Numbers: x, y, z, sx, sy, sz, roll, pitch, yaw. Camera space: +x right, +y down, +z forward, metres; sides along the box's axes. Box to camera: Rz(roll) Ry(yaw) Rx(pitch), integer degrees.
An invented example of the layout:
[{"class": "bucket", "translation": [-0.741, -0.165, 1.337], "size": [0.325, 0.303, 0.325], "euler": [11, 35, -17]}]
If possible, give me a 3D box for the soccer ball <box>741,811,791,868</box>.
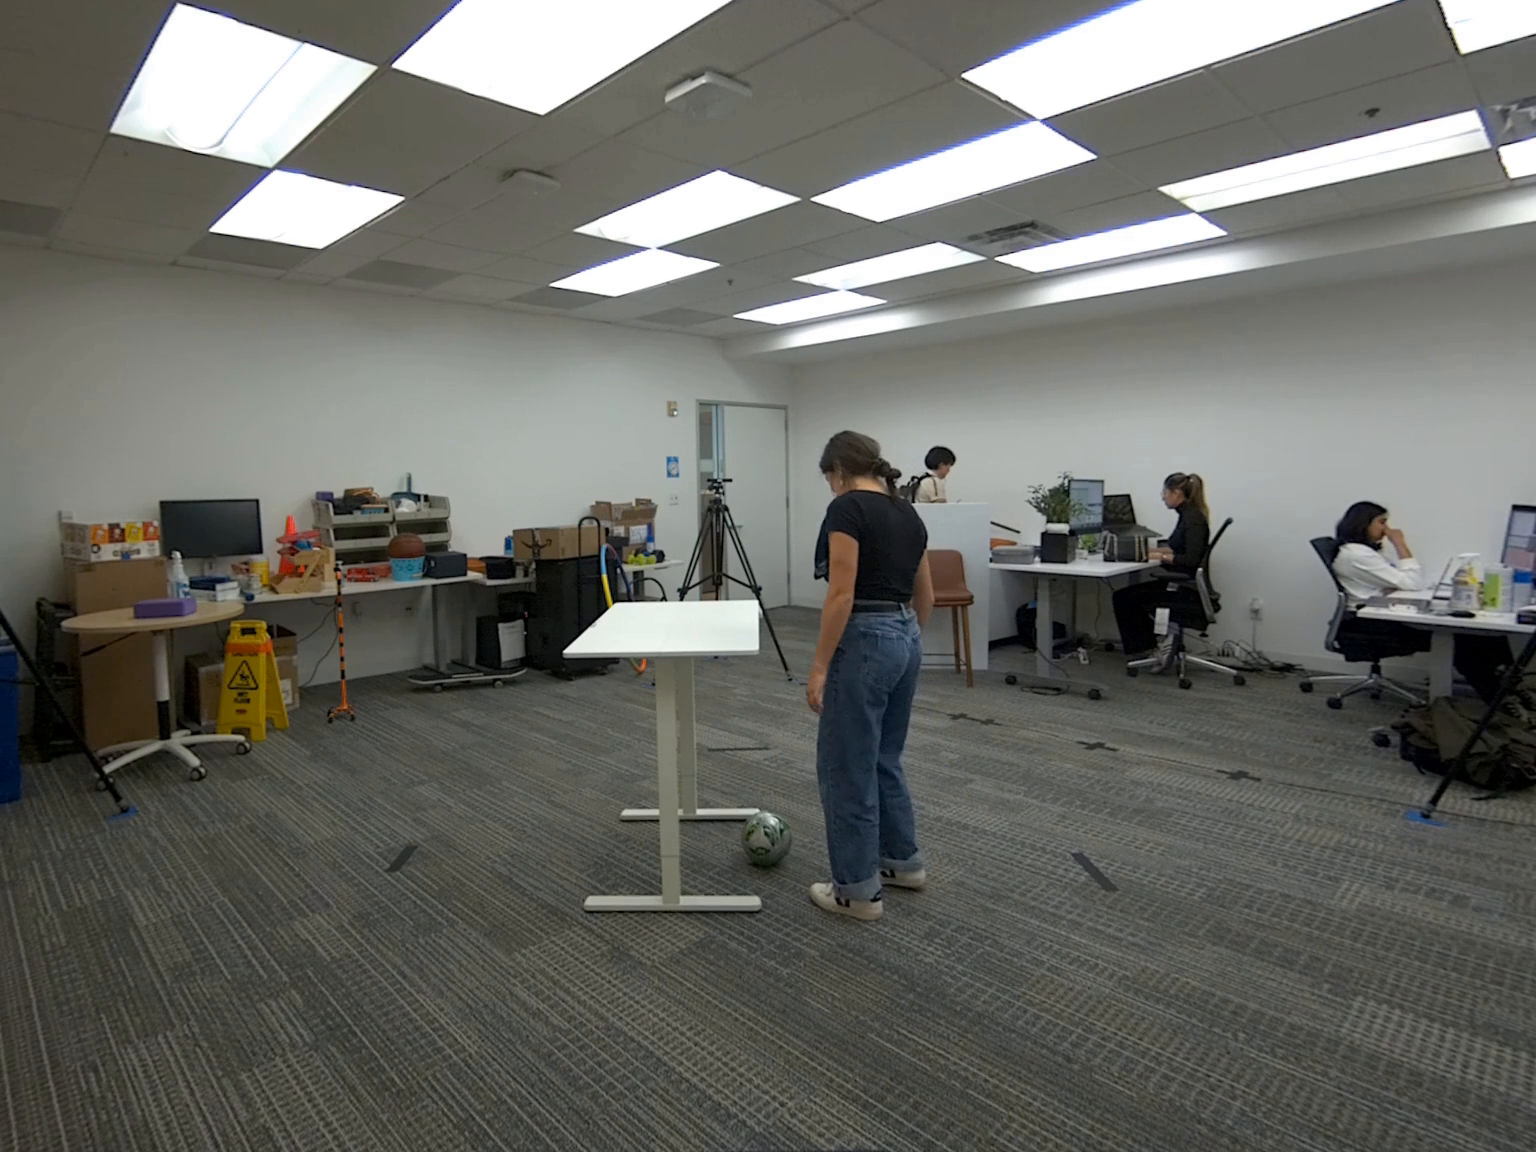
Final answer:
[{"class": "soccer ball", "translation": [-0.006, 0.953, 3.110], "size": [0.187, 0.187, 0.188], "euler": [-1, 5, -2]}]
